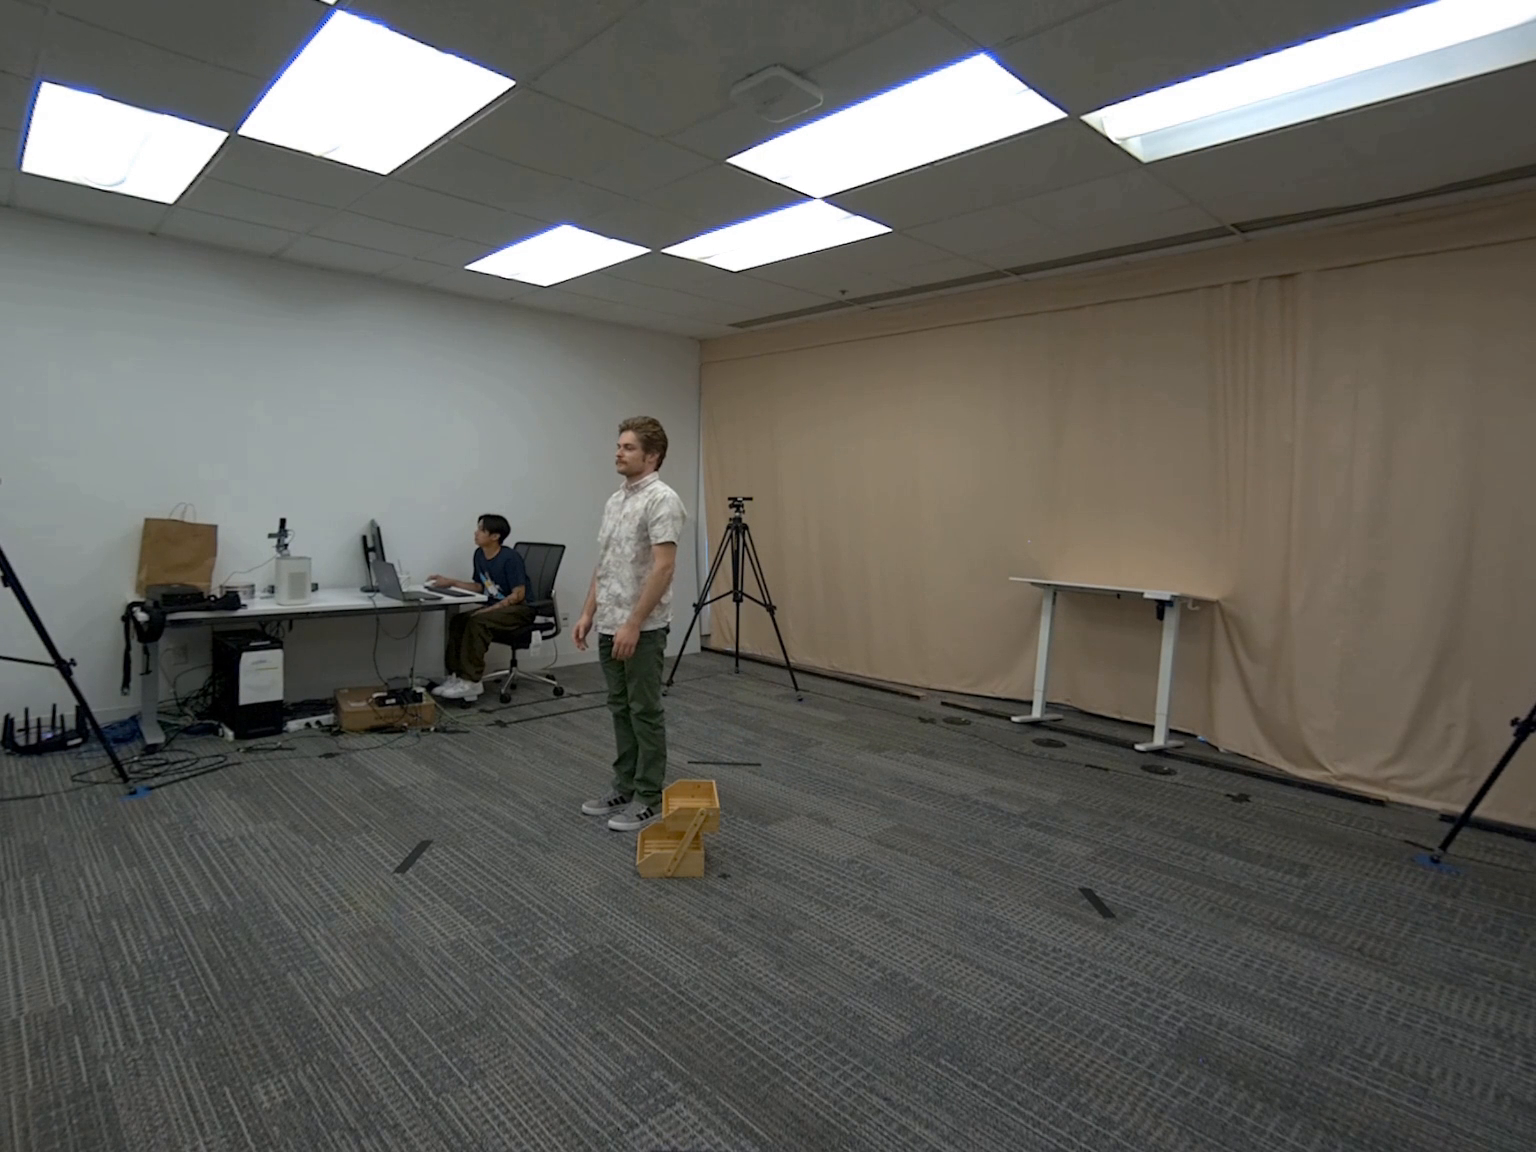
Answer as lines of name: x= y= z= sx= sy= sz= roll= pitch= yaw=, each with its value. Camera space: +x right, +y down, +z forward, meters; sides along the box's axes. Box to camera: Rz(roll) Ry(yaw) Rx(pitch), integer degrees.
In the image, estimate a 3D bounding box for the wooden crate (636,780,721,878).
wooden crate: x=-0.363 y=0.958 z=3.233 sx=0.301 sy=0.272 sz=0.327 roll=1 pitch=4 yaw=-6
